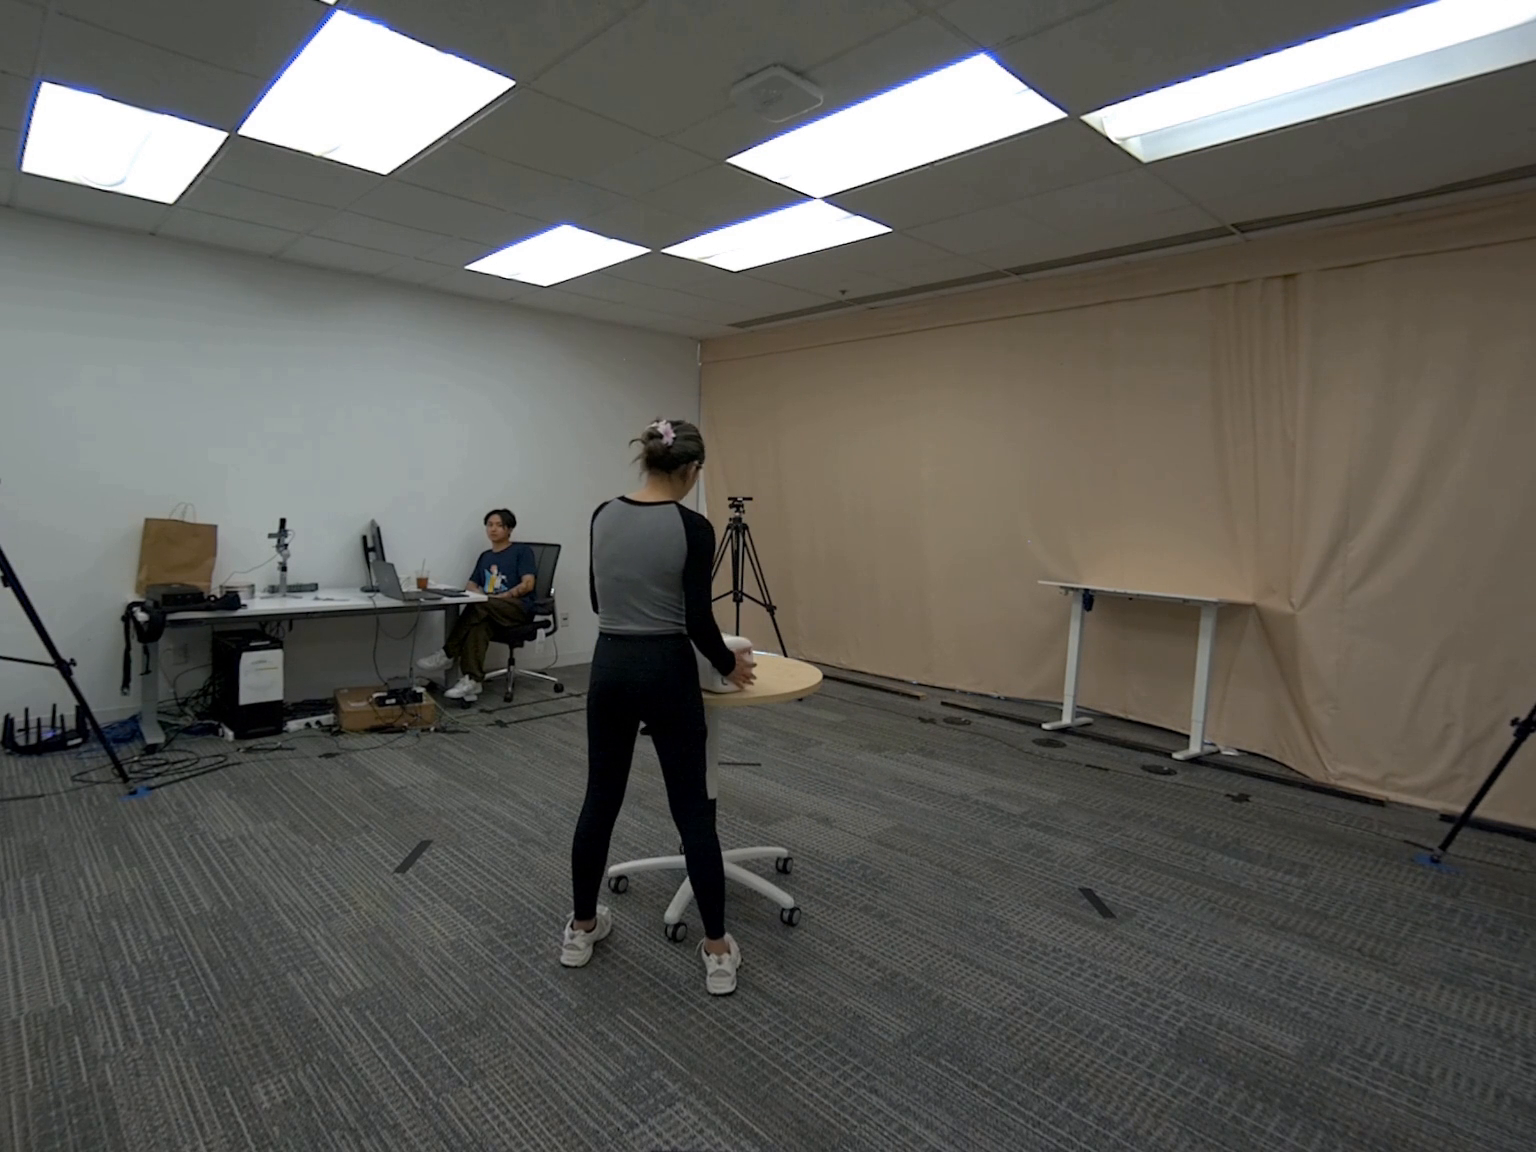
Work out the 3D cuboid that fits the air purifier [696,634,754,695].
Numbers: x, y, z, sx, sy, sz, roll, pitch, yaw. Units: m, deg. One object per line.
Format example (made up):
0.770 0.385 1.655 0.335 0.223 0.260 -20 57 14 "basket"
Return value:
-0.188 0.268 2.671 0.167 0.171 0.272 0 4 -42 "air purifier"
